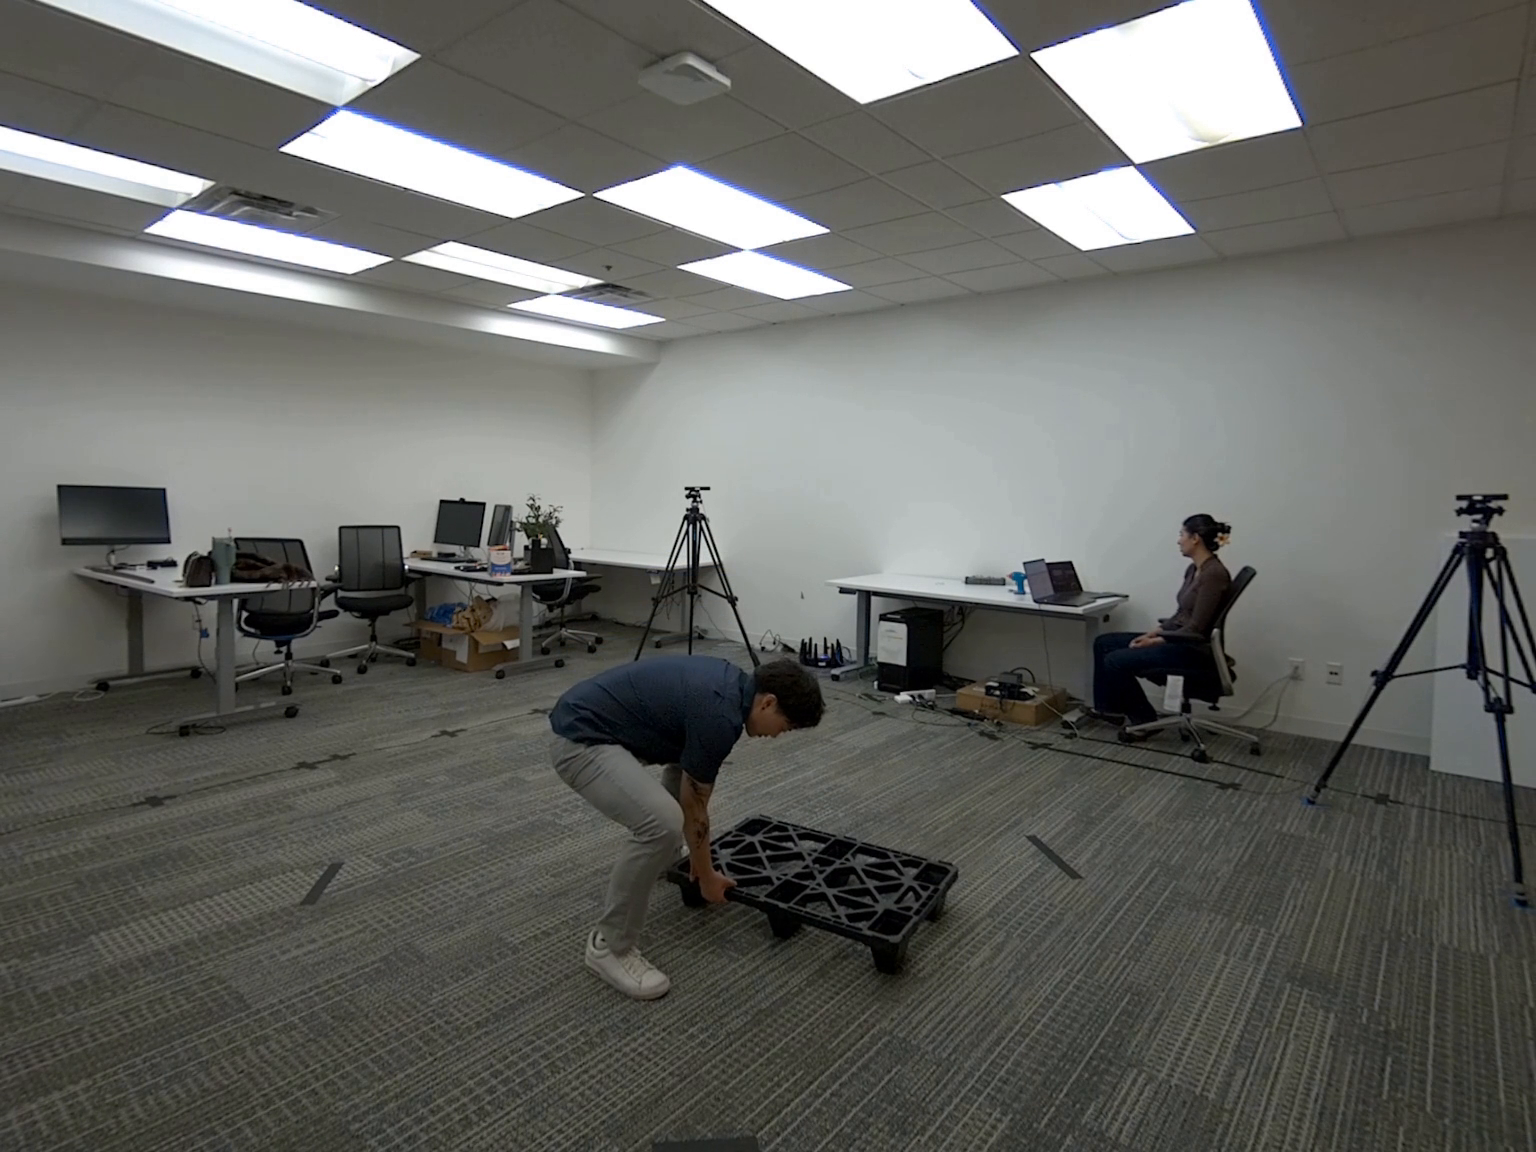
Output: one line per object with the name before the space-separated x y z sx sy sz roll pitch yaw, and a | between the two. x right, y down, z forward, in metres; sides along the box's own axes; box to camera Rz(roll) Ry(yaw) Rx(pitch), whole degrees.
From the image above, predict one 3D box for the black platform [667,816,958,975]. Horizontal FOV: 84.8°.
black platform | 0.148 1.031 2.823 0.830 0.143 0.590 4 6 30
